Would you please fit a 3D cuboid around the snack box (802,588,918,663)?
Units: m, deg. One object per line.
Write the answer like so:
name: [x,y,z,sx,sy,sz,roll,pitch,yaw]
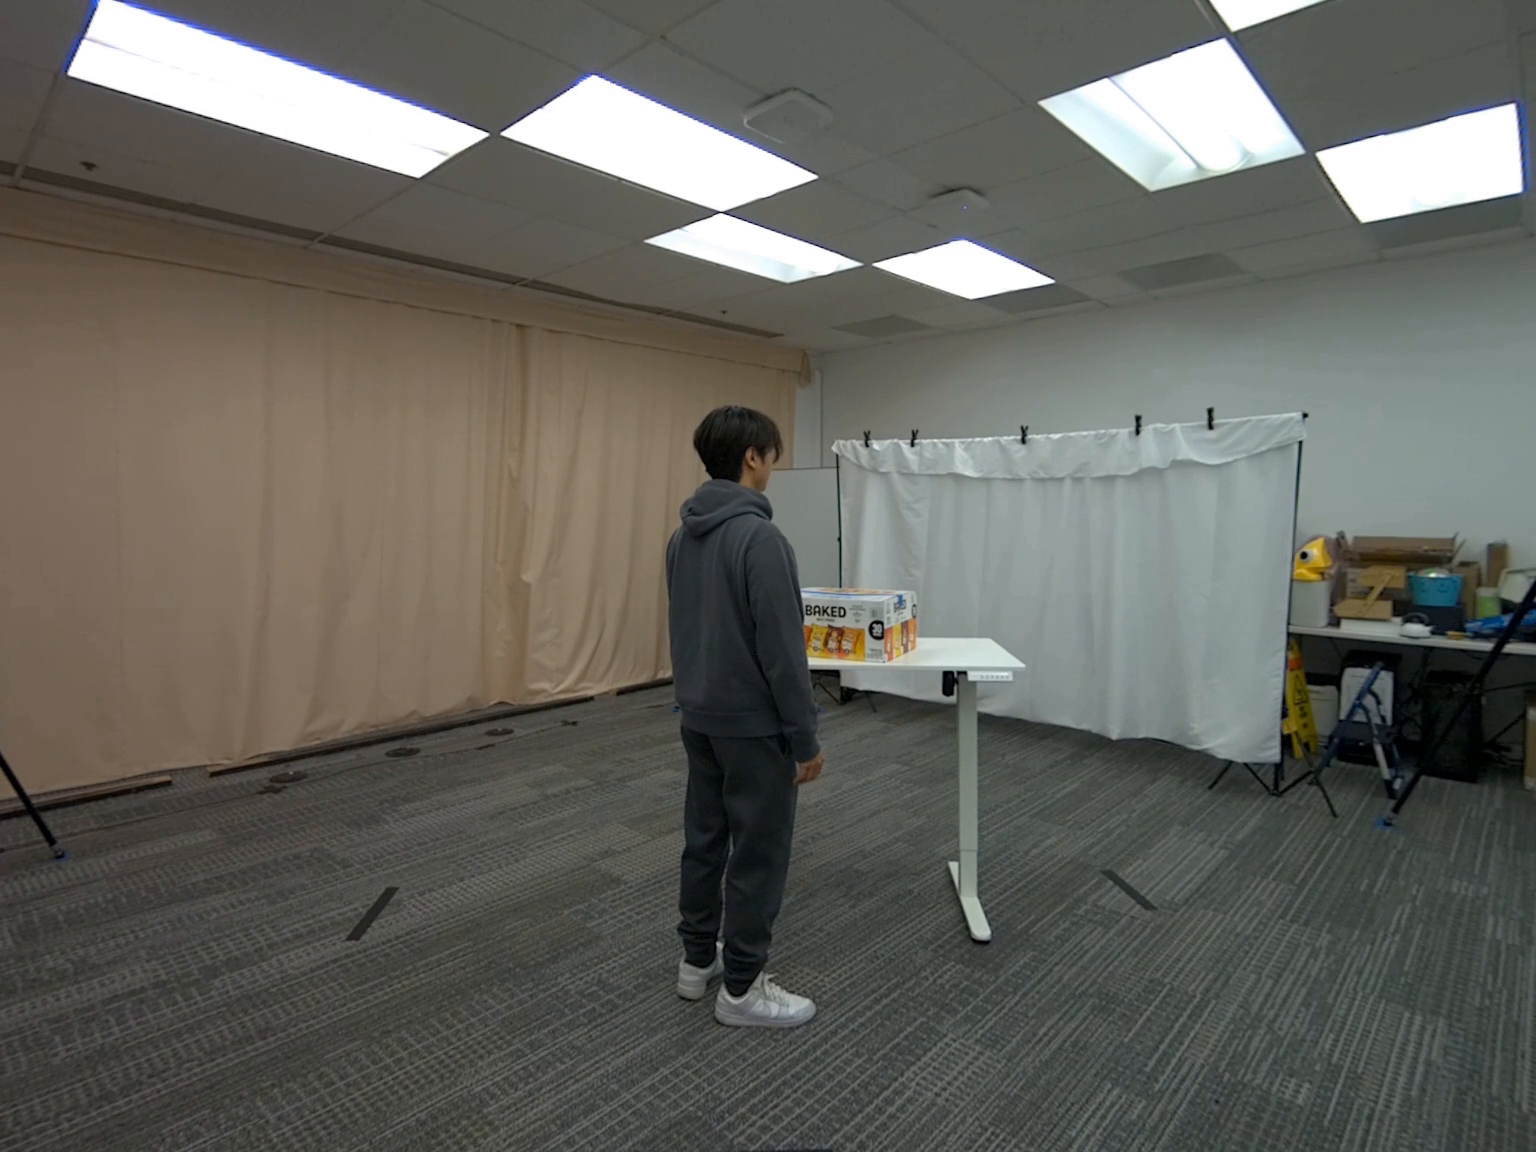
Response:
snack box: [0.273,0.163,2.940,0.416,0.205,0.331,1,4,29]
